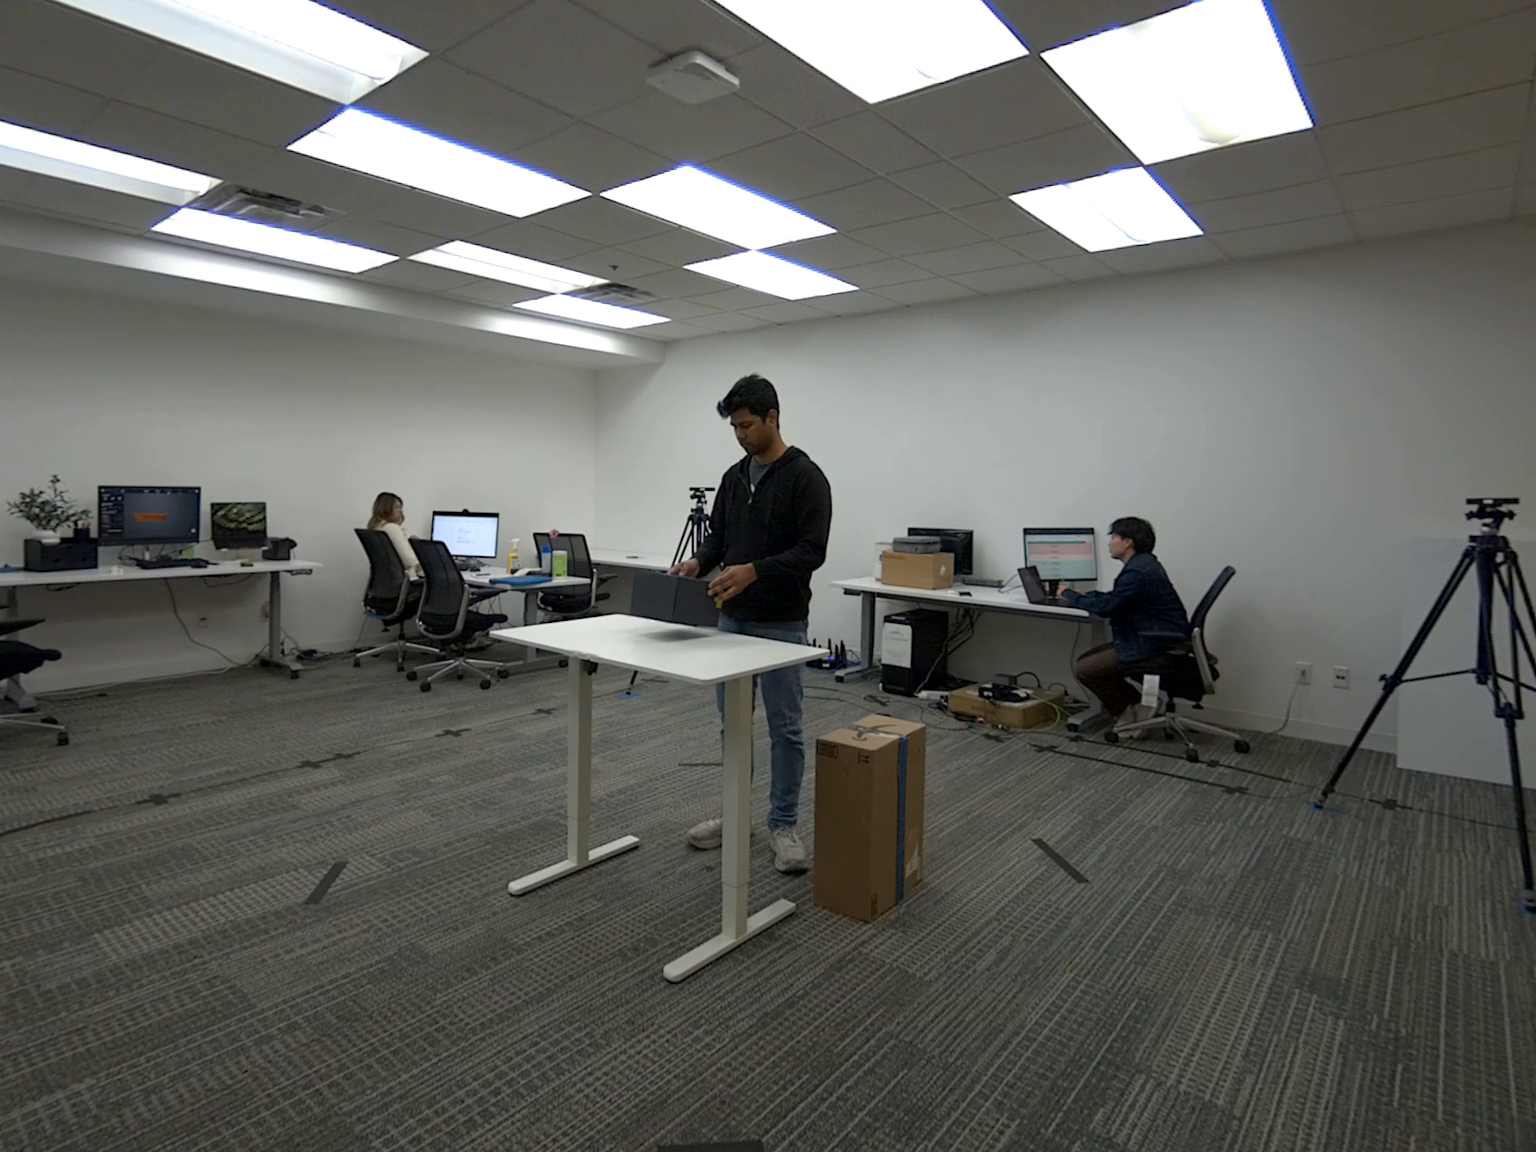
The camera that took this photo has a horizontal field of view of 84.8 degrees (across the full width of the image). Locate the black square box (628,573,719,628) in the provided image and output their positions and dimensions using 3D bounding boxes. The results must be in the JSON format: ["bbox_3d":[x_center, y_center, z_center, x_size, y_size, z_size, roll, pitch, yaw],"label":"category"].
[{"bbox_3d":[-0.313,0.073,2.911,0.236,0.156,0.209,7,-3,44],"label":"black square box"}]
